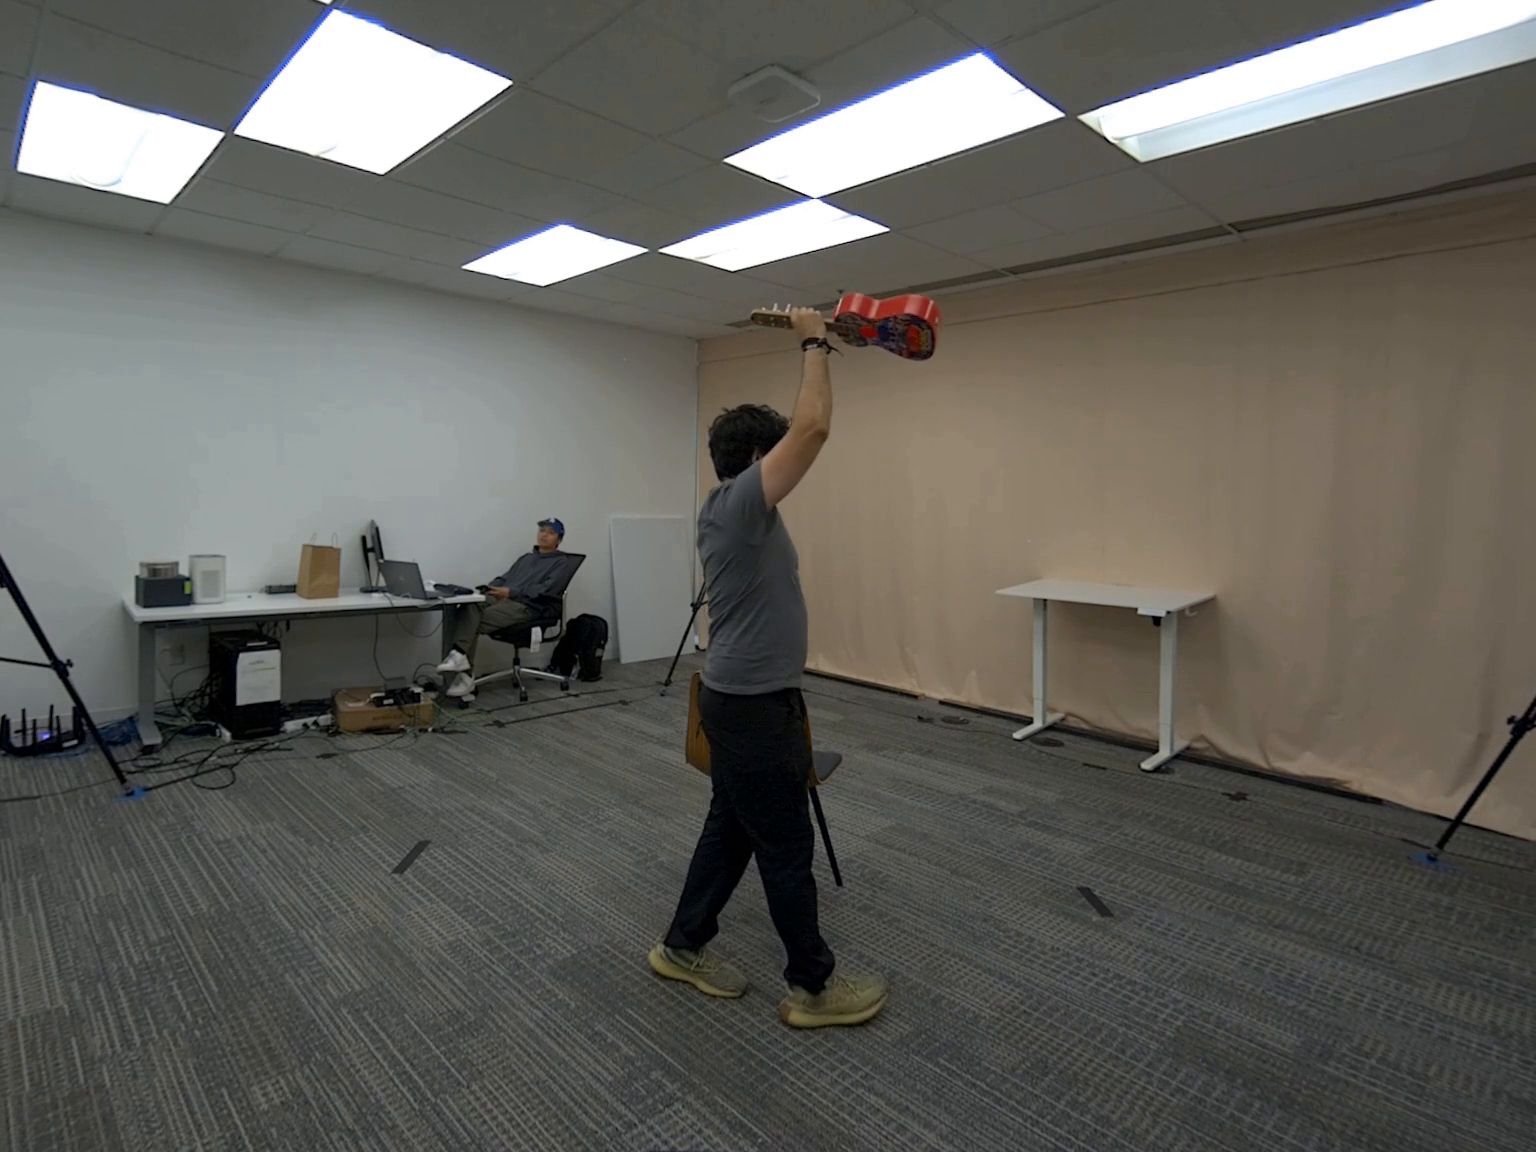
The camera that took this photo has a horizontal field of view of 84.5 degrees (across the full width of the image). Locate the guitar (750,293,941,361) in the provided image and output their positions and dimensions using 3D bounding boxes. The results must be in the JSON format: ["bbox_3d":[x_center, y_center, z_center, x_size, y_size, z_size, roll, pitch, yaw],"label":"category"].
[{"bbox_3d":[0.194,-0.673,2.162,0.503,0.071,0.190,16,-17,10],"label":"guitar"}]
